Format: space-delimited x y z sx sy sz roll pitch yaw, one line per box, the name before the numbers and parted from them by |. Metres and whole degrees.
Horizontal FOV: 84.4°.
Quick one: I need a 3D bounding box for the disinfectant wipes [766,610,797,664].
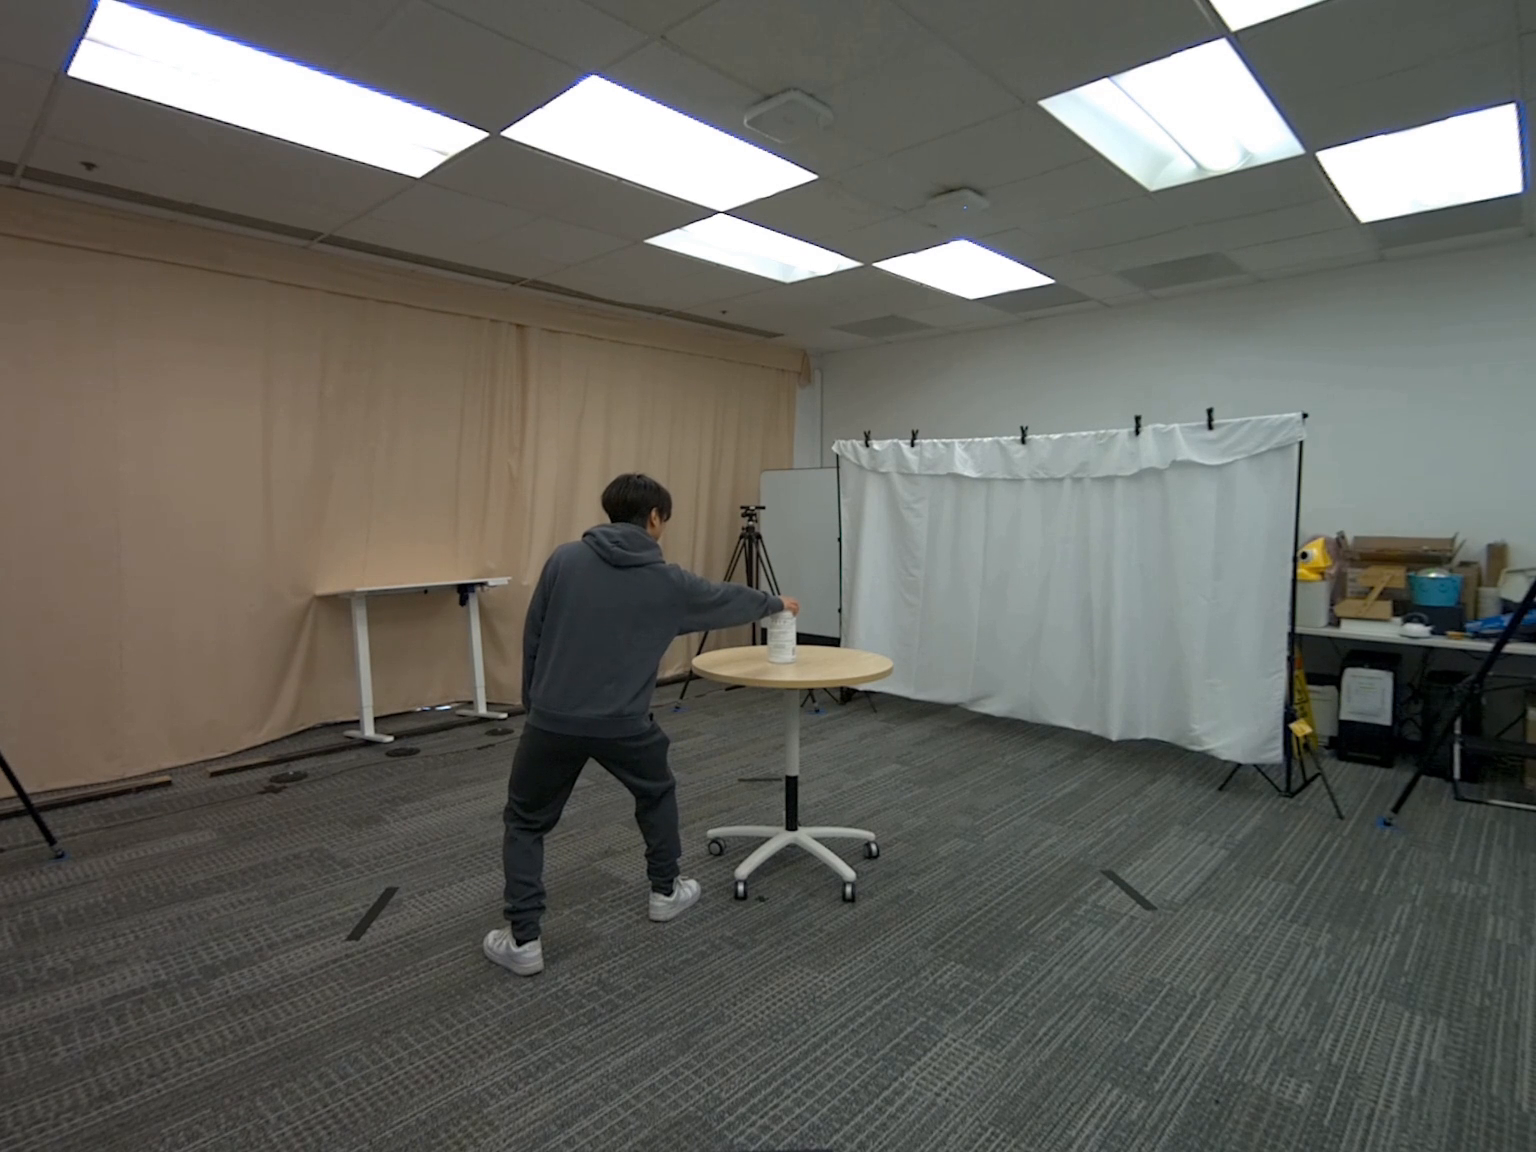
disinfectant wipes | 0.059 0.223 3.214 0.118 0.217 0.118 0 3 -2
